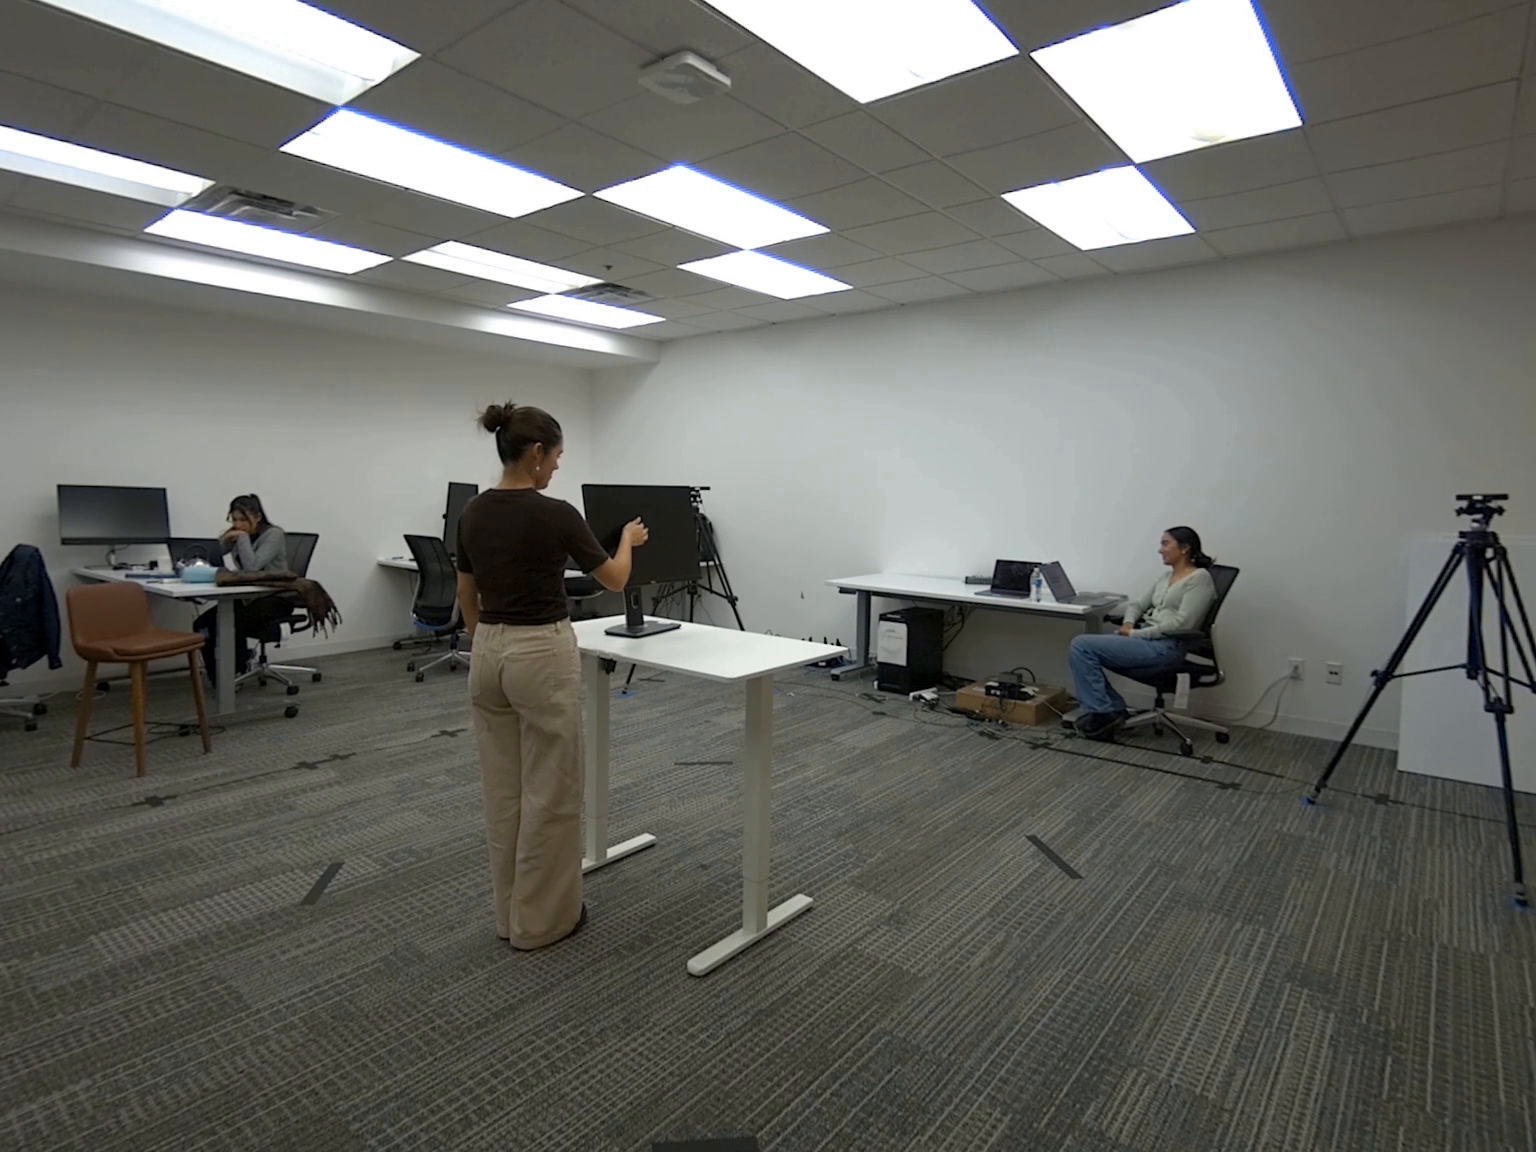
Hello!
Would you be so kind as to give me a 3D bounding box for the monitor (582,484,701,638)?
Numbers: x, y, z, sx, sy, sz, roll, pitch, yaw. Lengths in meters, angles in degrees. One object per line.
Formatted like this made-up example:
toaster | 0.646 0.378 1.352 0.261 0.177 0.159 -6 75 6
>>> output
monitor | -0.460 -0.061 2.982 0.193 0.521 0.524 4 5 36
